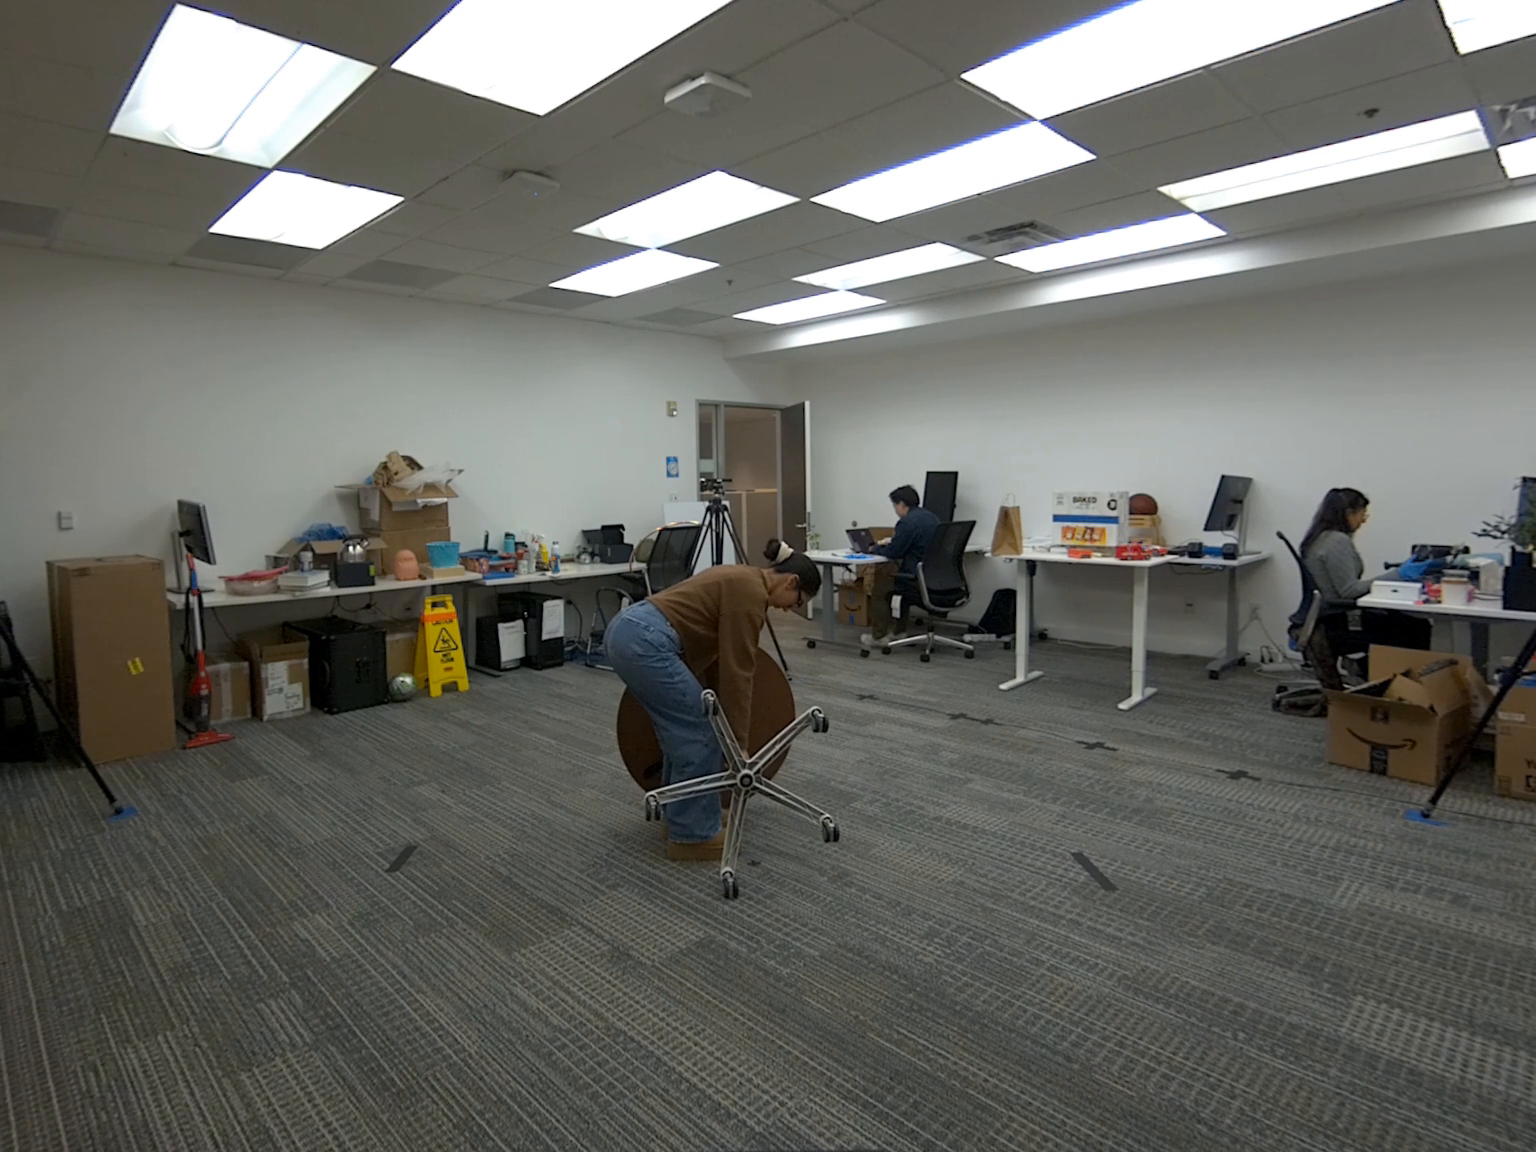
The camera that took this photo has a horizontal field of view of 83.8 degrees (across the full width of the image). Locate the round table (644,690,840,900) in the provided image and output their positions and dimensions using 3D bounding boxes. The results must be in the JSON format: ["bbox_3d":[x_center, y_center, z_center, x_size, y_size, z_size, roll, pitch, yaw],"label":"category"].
[{"bbox_3d":[-0.155,0.671,3.205,0.755,0.760,0.808,-2,7,-13],"label":"round table"}]
